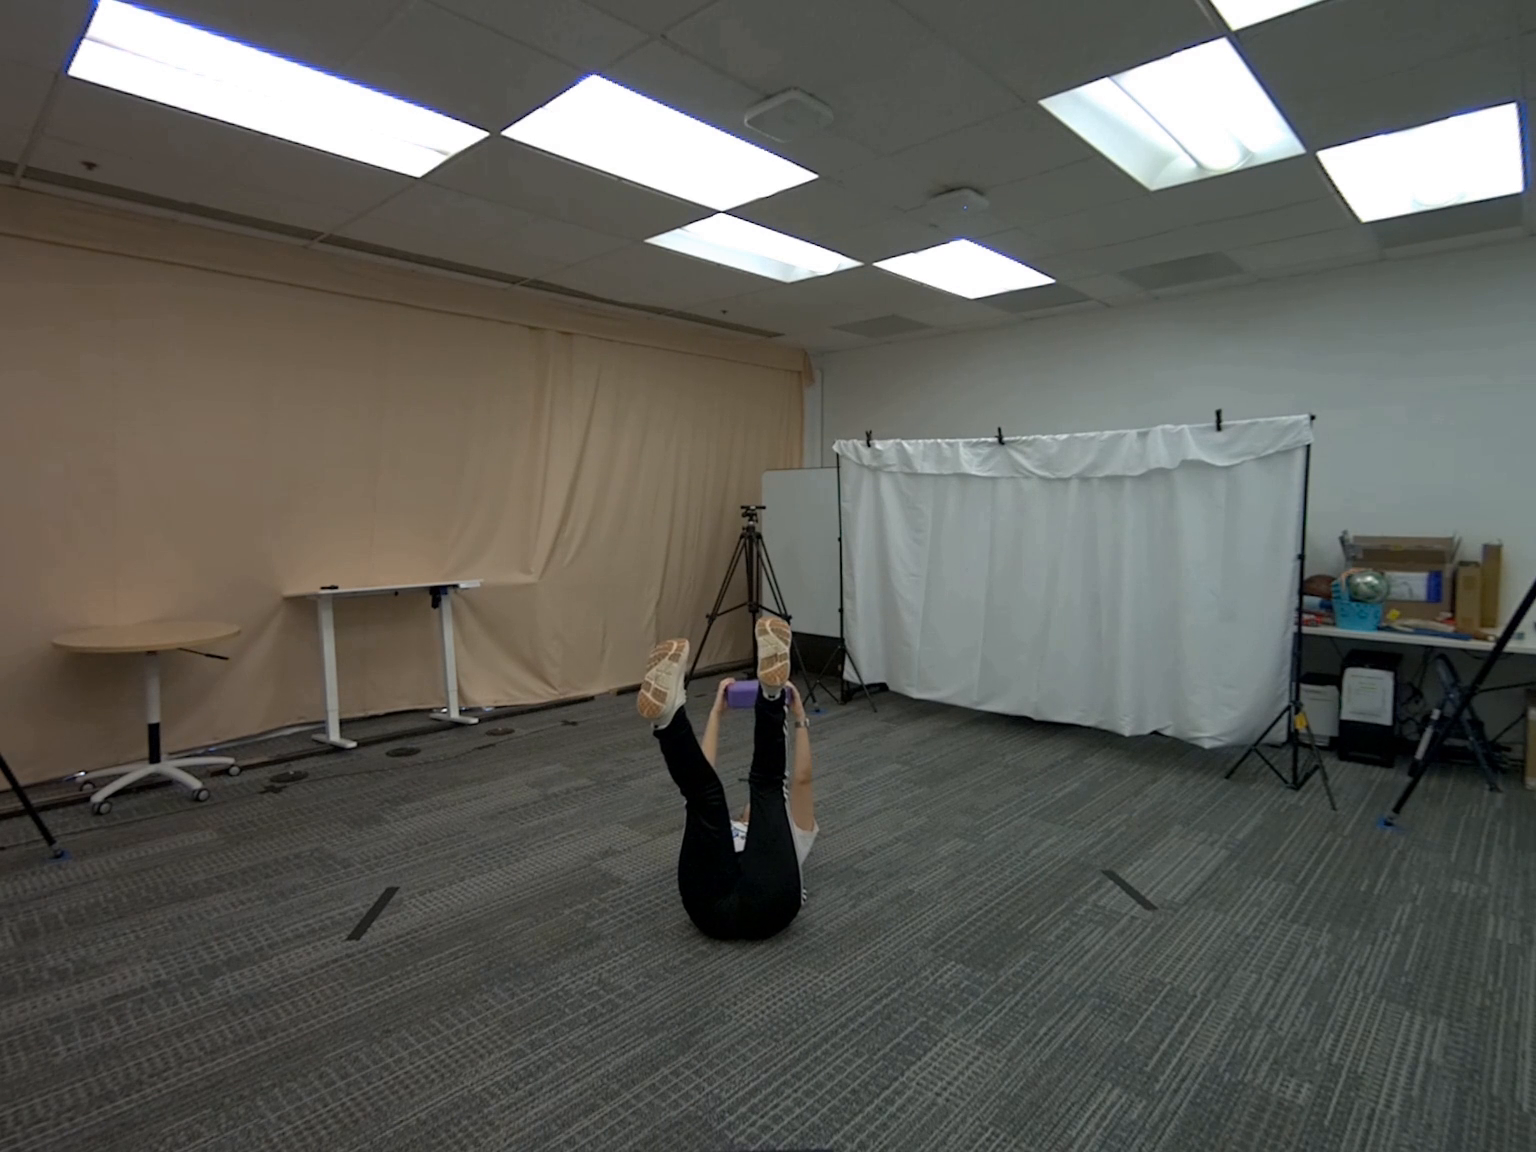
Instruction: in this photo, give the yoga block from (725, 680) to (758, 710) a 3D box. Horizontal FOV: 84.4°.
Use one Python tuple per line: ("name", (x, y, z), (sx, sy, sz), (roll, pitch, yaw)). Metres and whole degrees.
("yoga block", (-0.032, 0.455, 3.251), (0.228, 0.076, 0.150), (-2, 4, -7))
